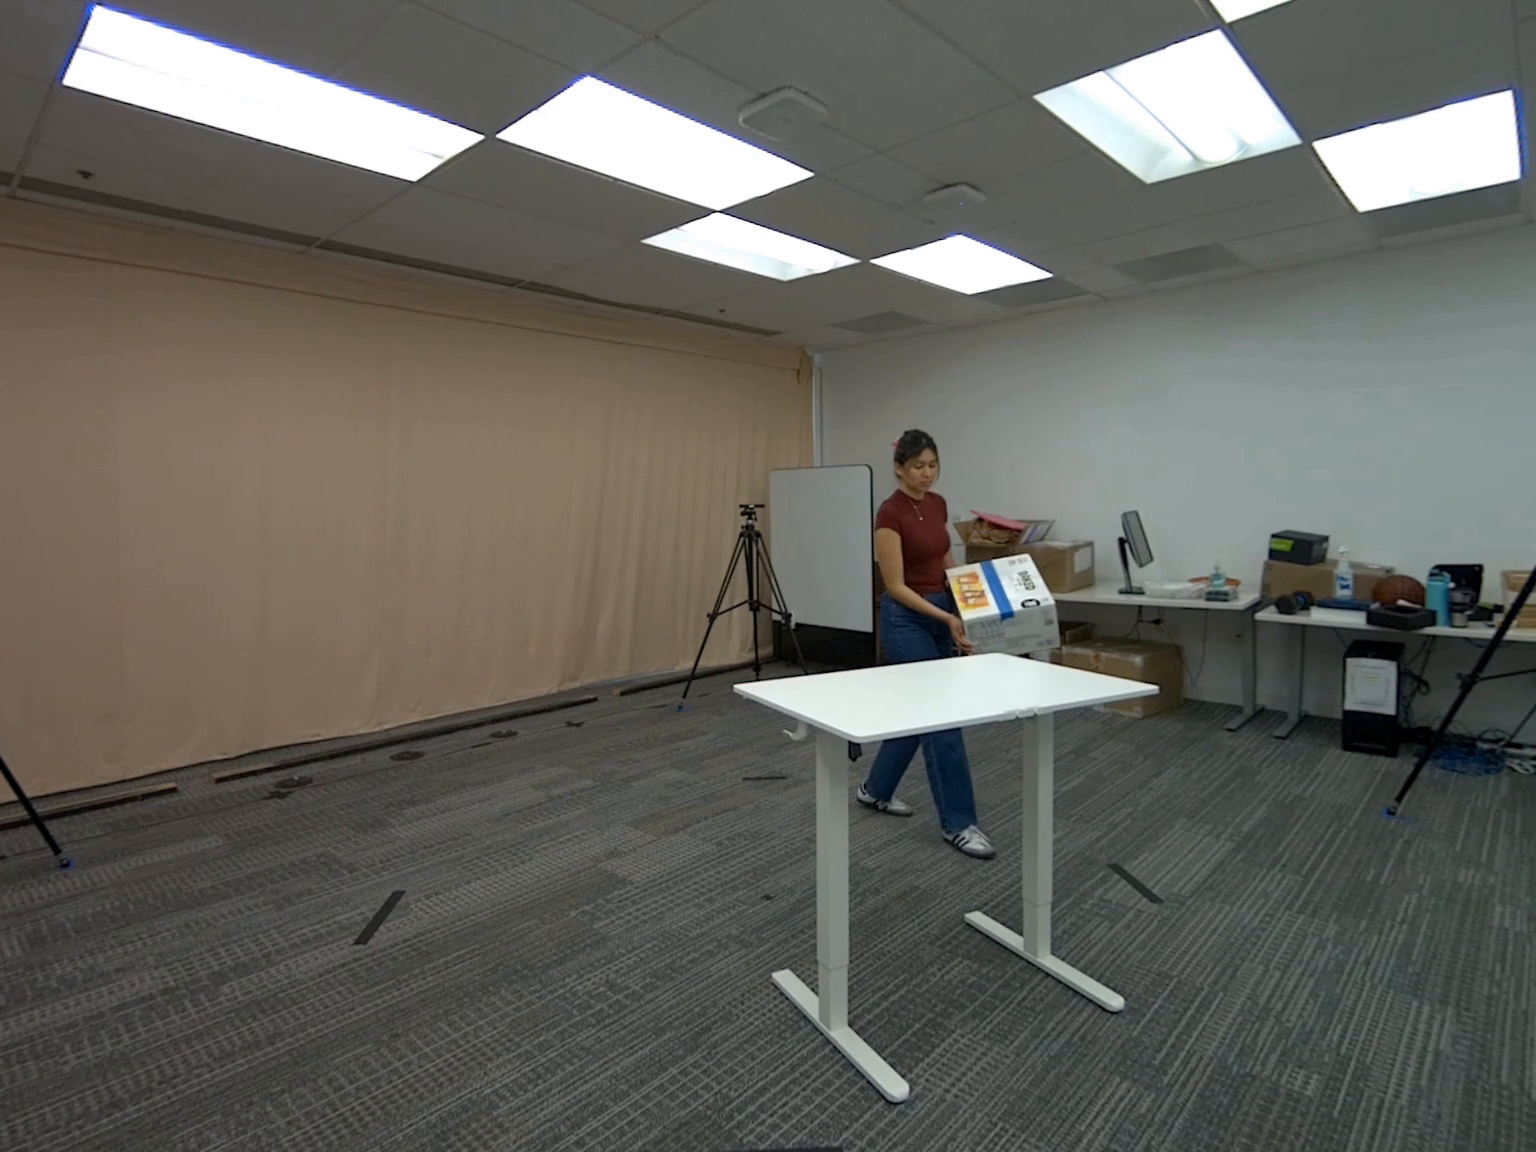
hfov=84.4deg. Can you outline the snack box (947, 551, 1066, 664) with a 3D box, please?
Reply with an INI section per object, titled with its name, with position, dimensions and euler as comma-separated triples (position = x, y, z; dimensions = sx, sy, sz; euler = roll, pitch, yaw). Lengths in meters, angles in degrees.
[snack box]
position = 0.935, 0.115, 3.367
dimensions = 0.343, 0.201, 0.410
euler = -11, 28, 8
